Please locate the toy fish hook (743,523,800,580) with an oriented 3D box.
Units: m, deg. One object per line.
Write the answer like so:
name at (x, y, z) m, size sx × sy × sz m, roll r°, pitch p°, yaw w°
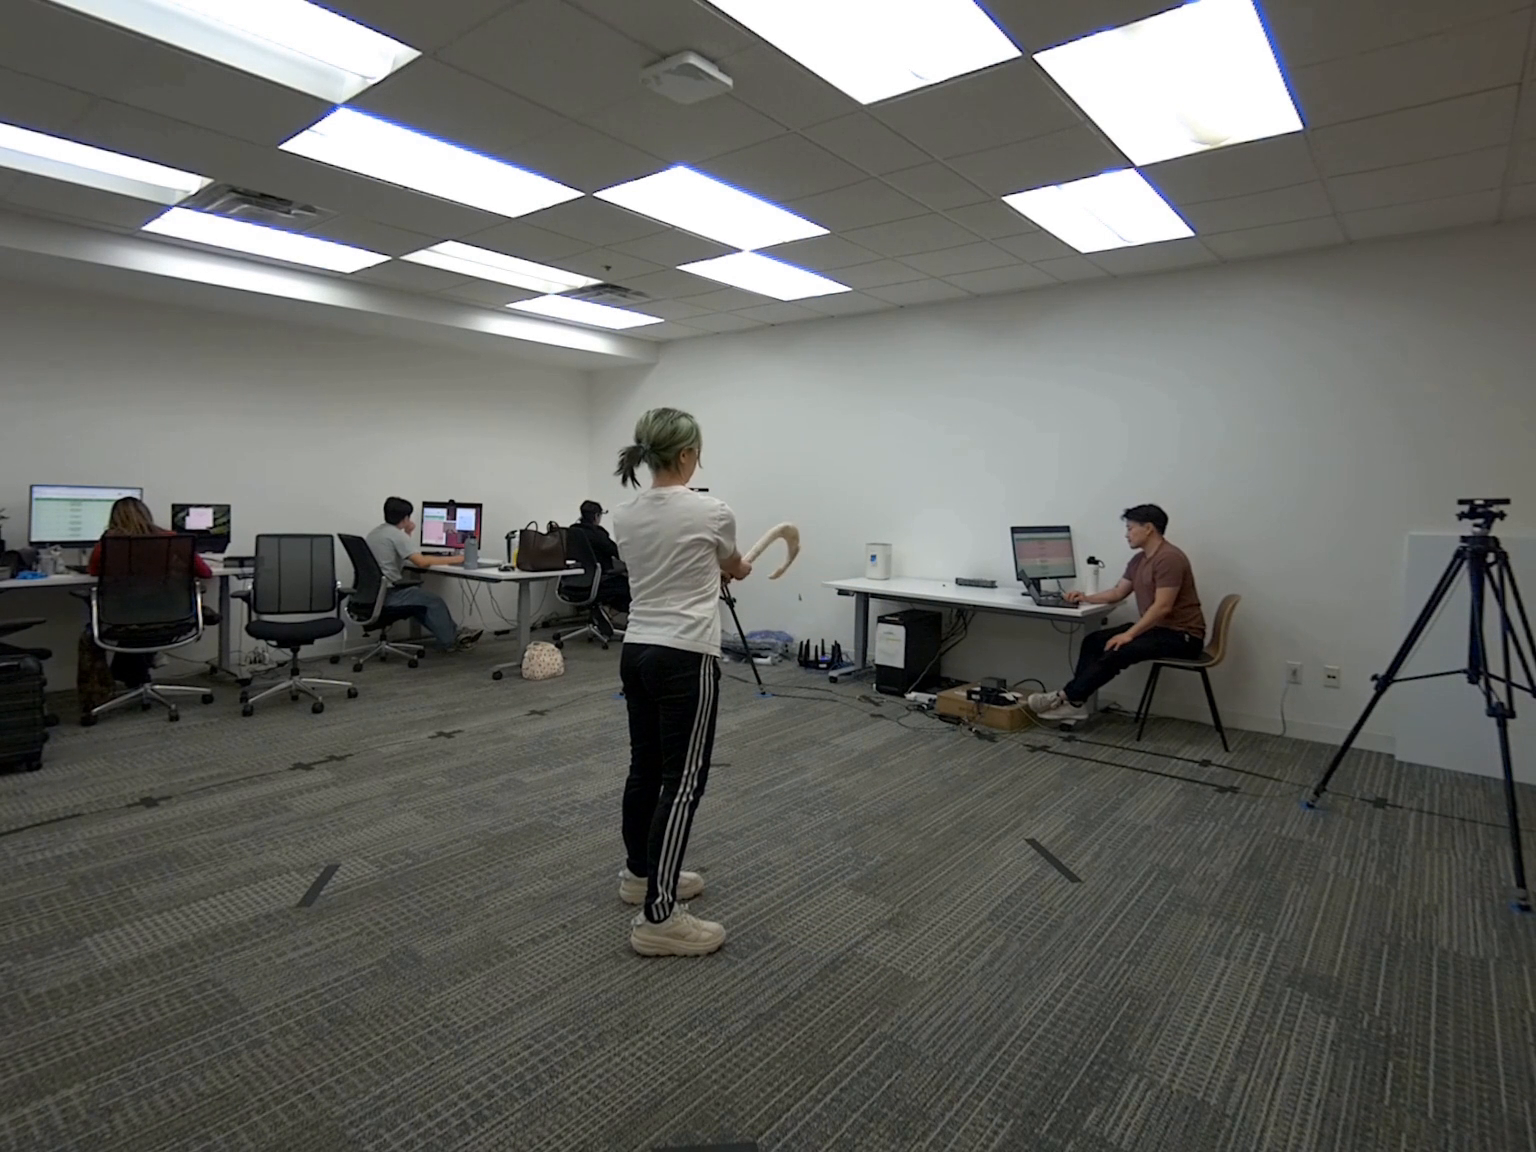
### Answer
toy fish hook at (-0.047, -0.022, 3.317) m, size 0.502 × 0.218 × 0.050 m, roll -35°, pitch 35°, yaw -30°
